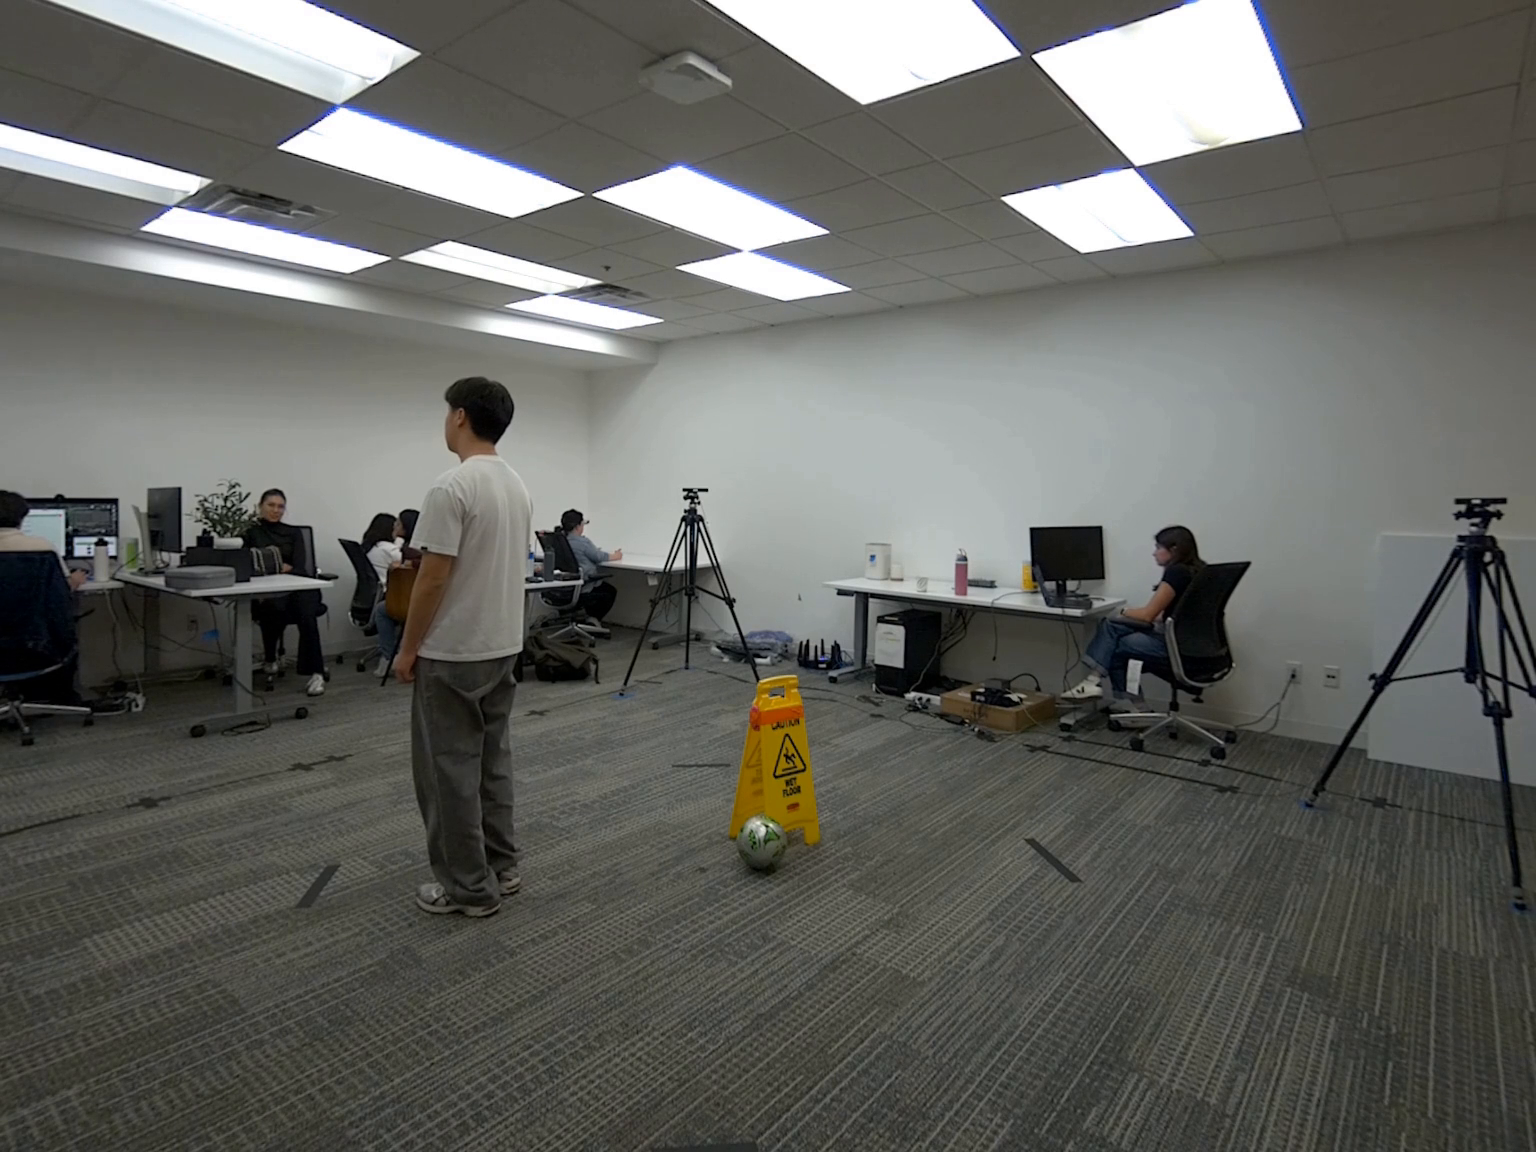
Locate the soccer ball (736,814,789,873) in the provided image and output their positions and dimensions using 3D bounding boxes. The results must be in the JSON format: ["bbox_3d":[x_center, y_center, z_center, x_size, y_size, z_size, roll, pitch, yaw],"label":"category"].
[{"bbox_3d":[-0.031,0.979,3.128,0.187,0.187,0.188,1,4,-2],"label":"soccer ball"}]
